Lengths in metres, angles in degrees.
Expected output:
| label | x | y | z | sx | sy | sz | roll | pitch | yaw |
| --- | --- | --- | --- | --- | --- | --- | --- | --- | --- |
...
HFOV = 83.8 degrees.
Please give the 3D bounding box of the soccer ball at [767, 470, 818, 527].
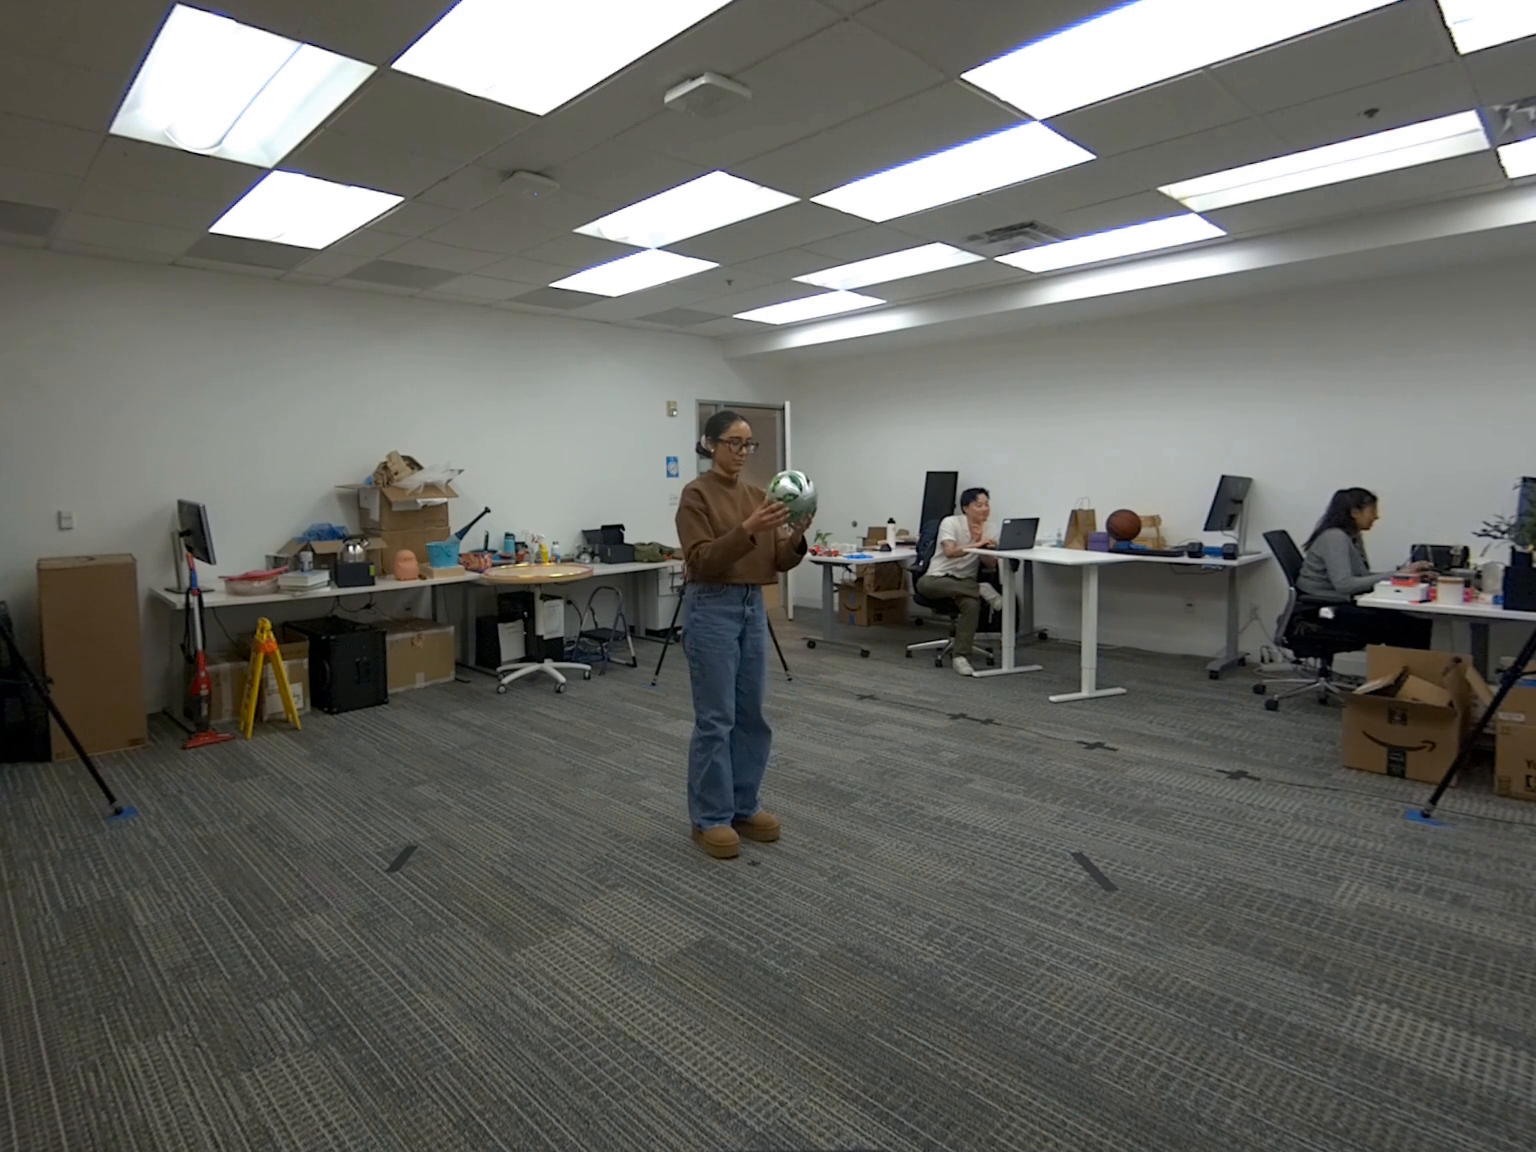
| label | x | y | z | sx | sy | sz | roll | pitch | yaw |
| --- | --- | --- | --- | --- | --- | --- | --- | --- | --- |
| soccer ball | 0.085 | -0.282 | 3.032 | 0.187 | 0.187 | 0.188 | -1 | 5 | -2 |
